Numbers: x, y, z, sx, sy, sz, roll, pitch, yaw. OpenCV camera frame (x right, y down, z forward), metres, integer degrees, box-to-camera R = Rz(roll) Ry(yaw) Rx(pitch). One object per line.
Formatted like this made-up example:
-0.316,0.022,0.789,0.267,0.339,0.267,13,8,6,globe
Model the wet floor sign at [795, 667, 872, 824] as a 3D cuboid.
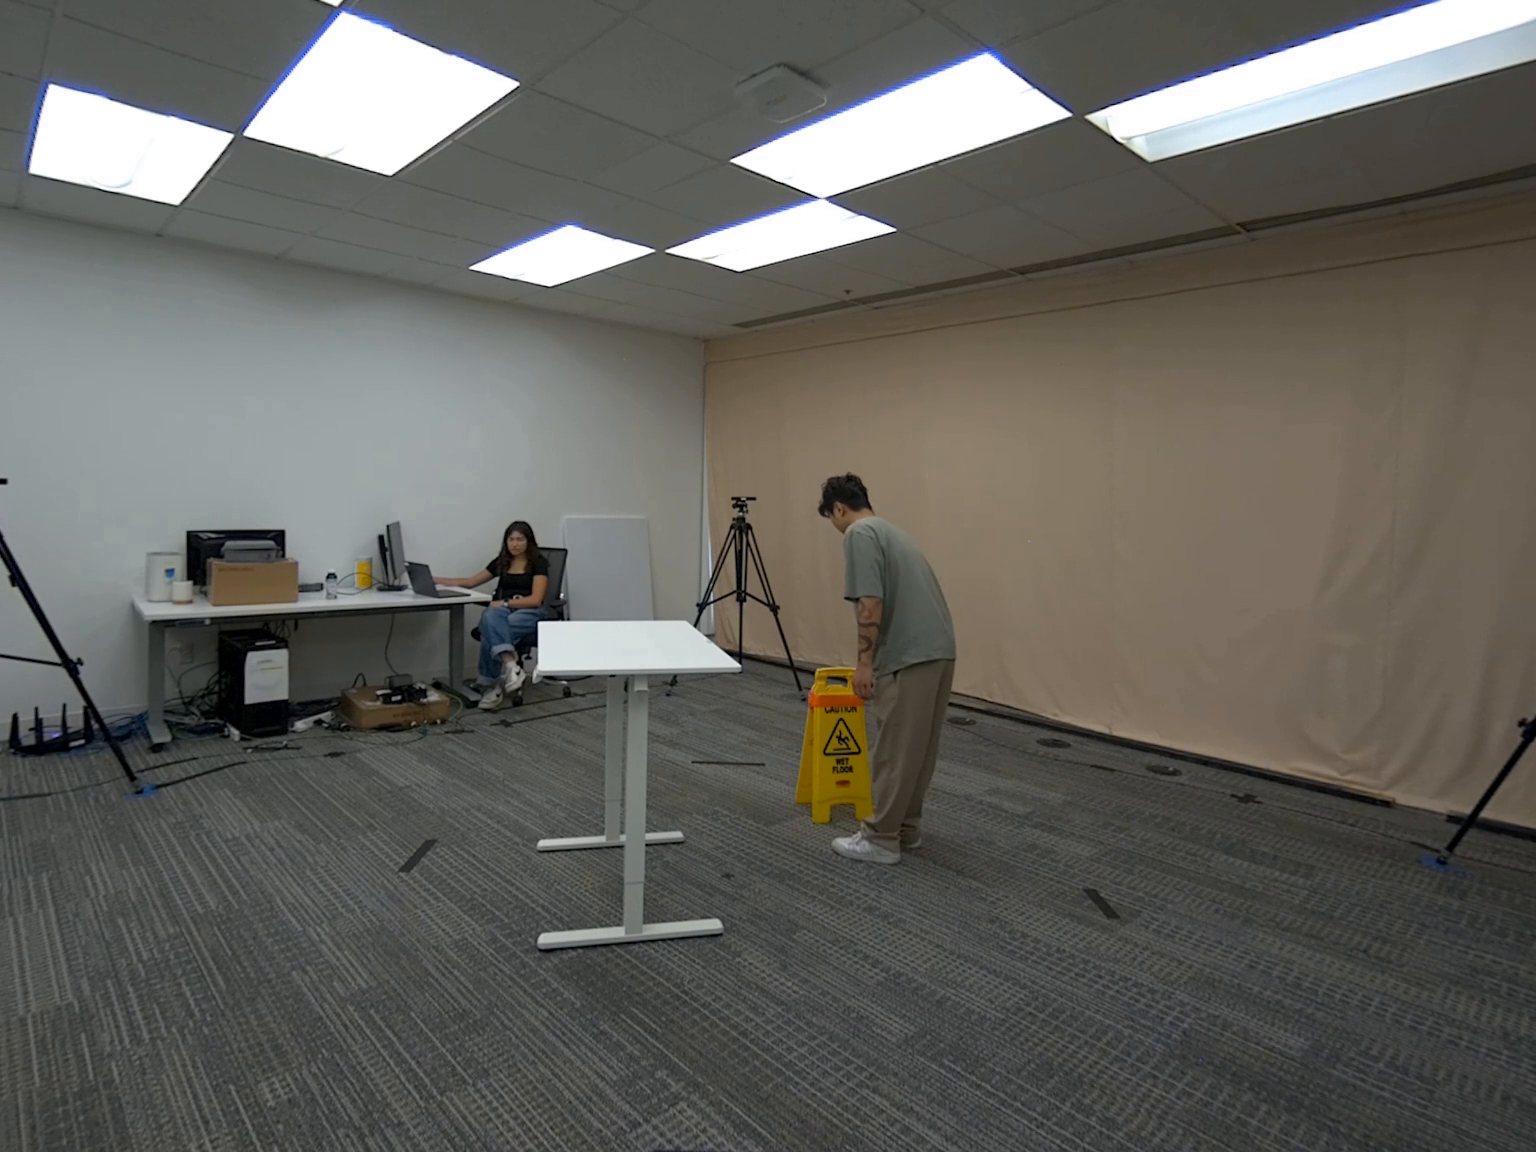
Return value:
0.293,0.734,3.782,0.279,0.645,0.293,2,2,-14,wet floor sign
